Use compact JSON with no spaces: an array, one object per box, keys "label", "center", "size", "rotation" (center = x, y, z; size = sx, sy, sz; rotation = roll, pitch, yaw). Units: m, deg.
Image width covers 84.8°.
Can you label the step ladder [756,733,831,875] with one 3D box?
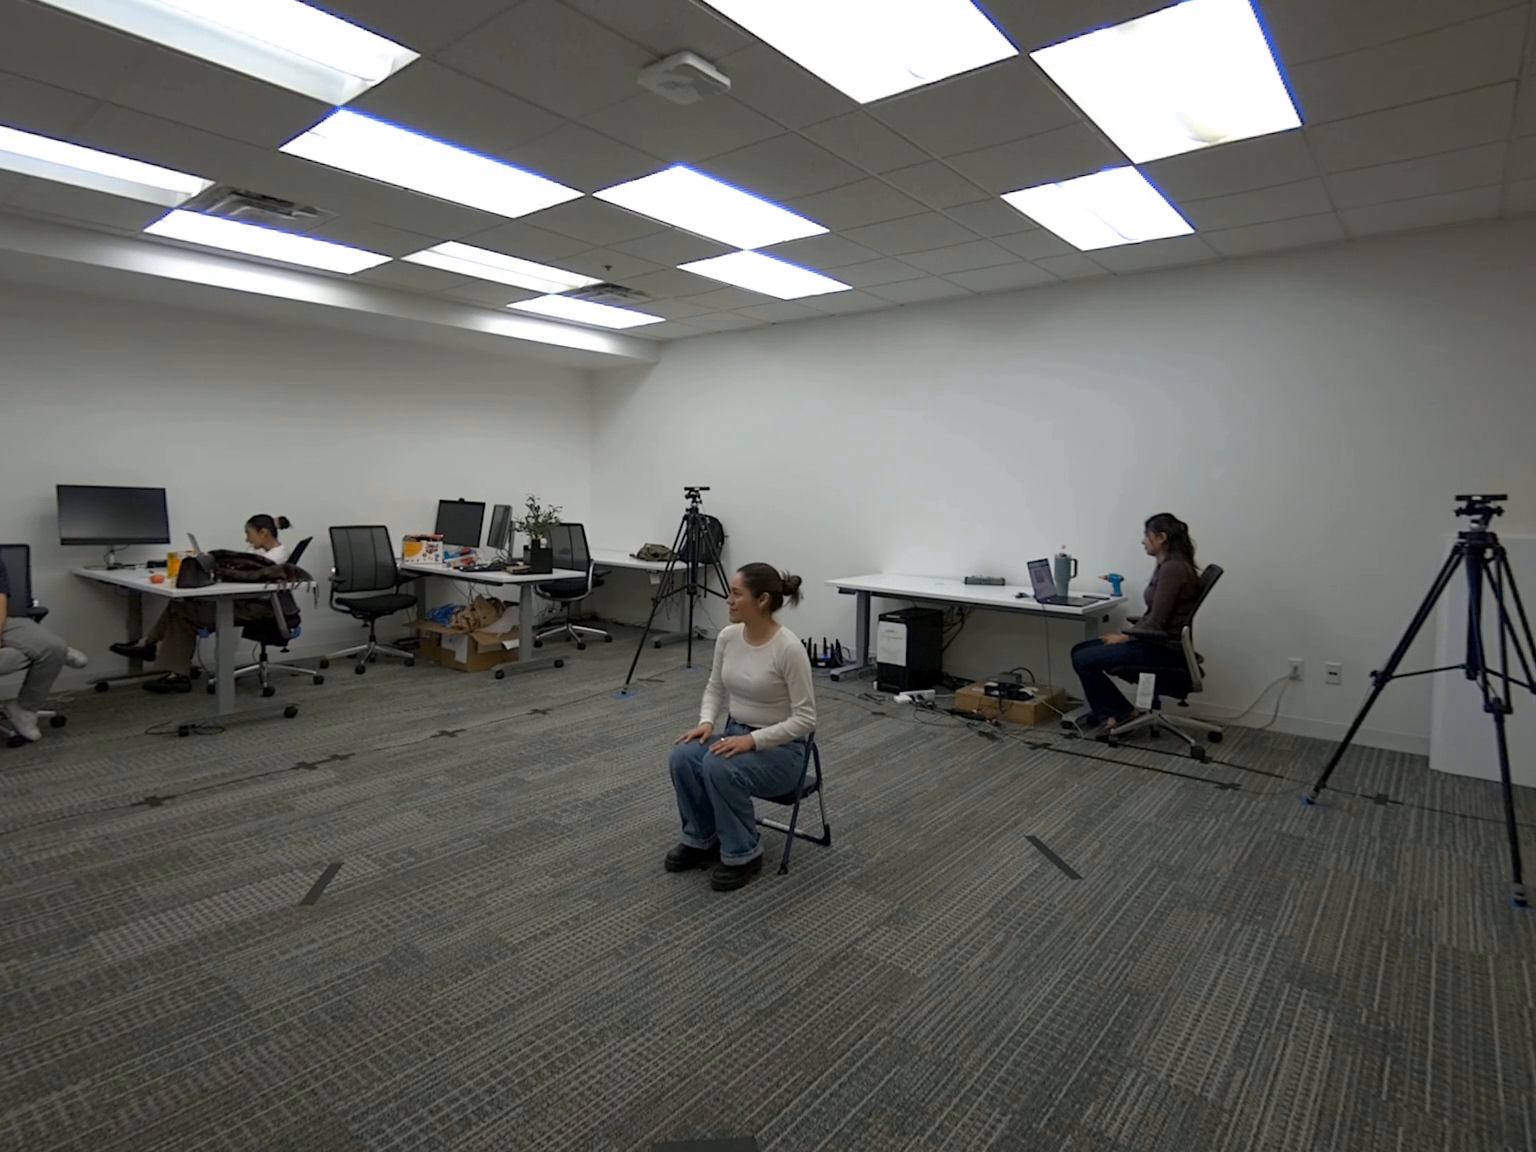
[{"label":"step ladder","center":[-0.015,0.743,3.317],"size":[0.445,0.604,0.339],"rotation":[4,5,37]}]
